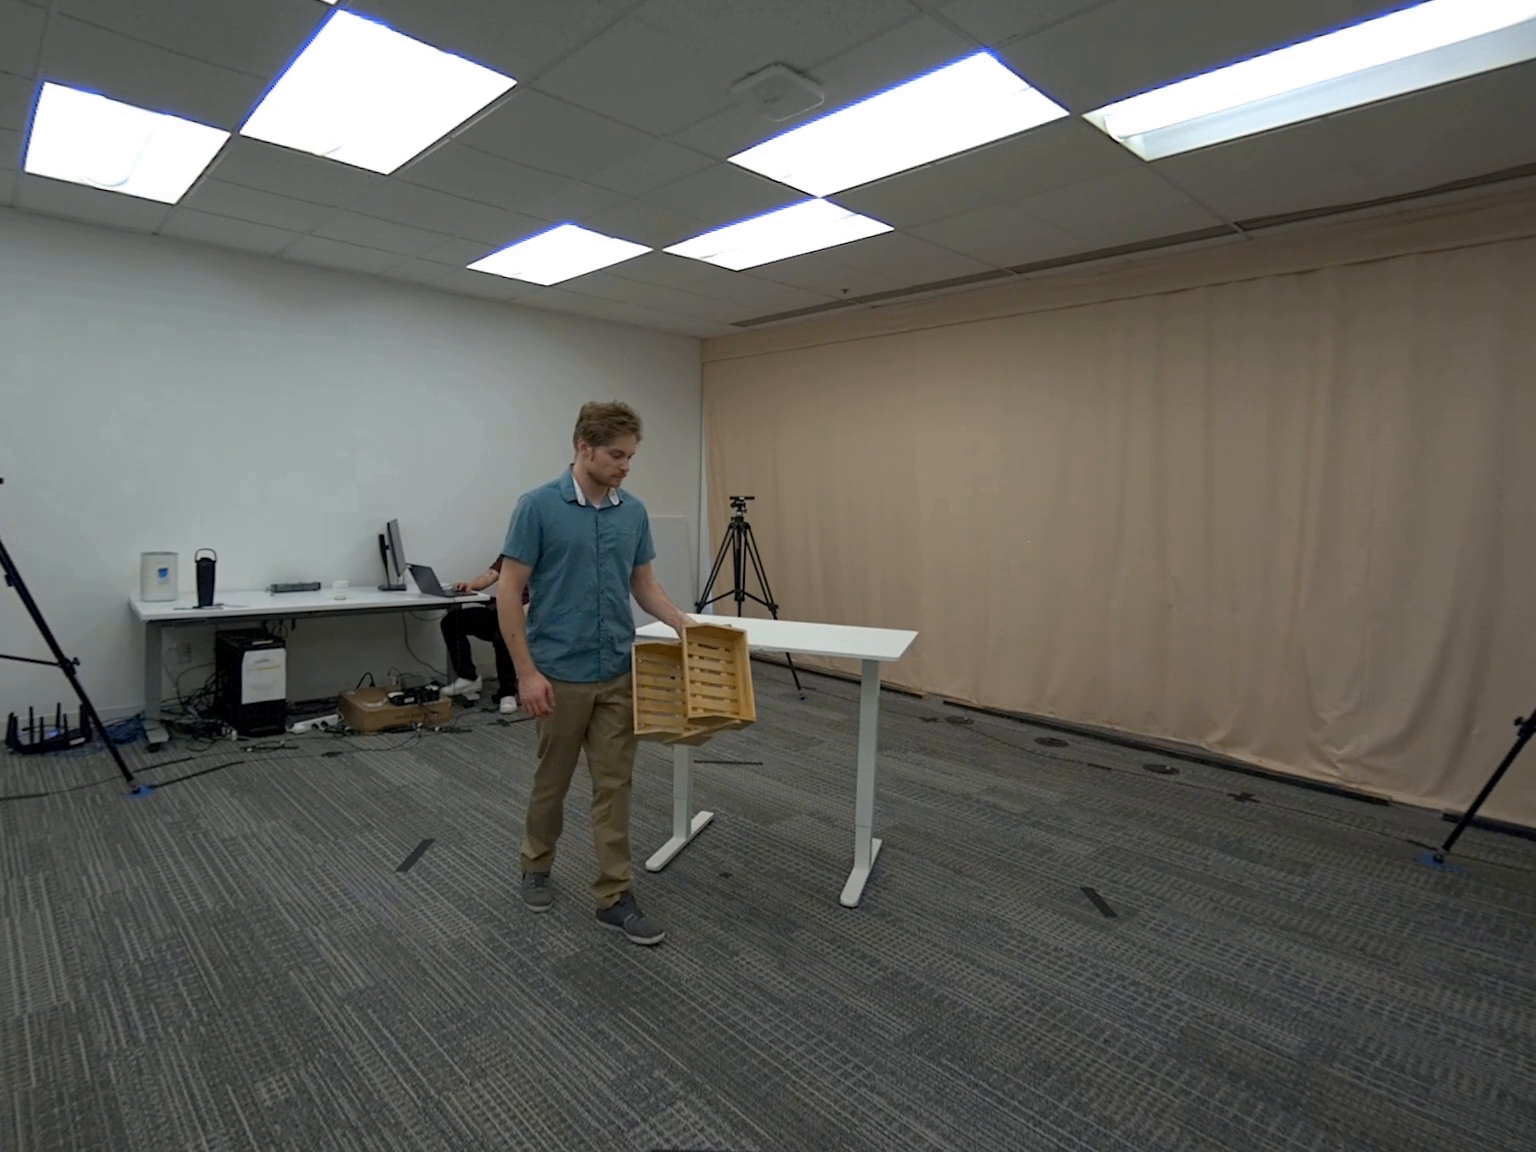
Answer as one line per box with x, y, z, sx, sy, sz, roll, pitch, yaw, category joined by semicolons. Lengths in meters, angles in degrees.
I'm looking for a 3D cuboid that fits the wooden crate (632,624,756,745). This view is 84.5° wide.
-0.256;0.331;2.600;0.294;0.331;0.274;13;-35;-31;wooden crate
